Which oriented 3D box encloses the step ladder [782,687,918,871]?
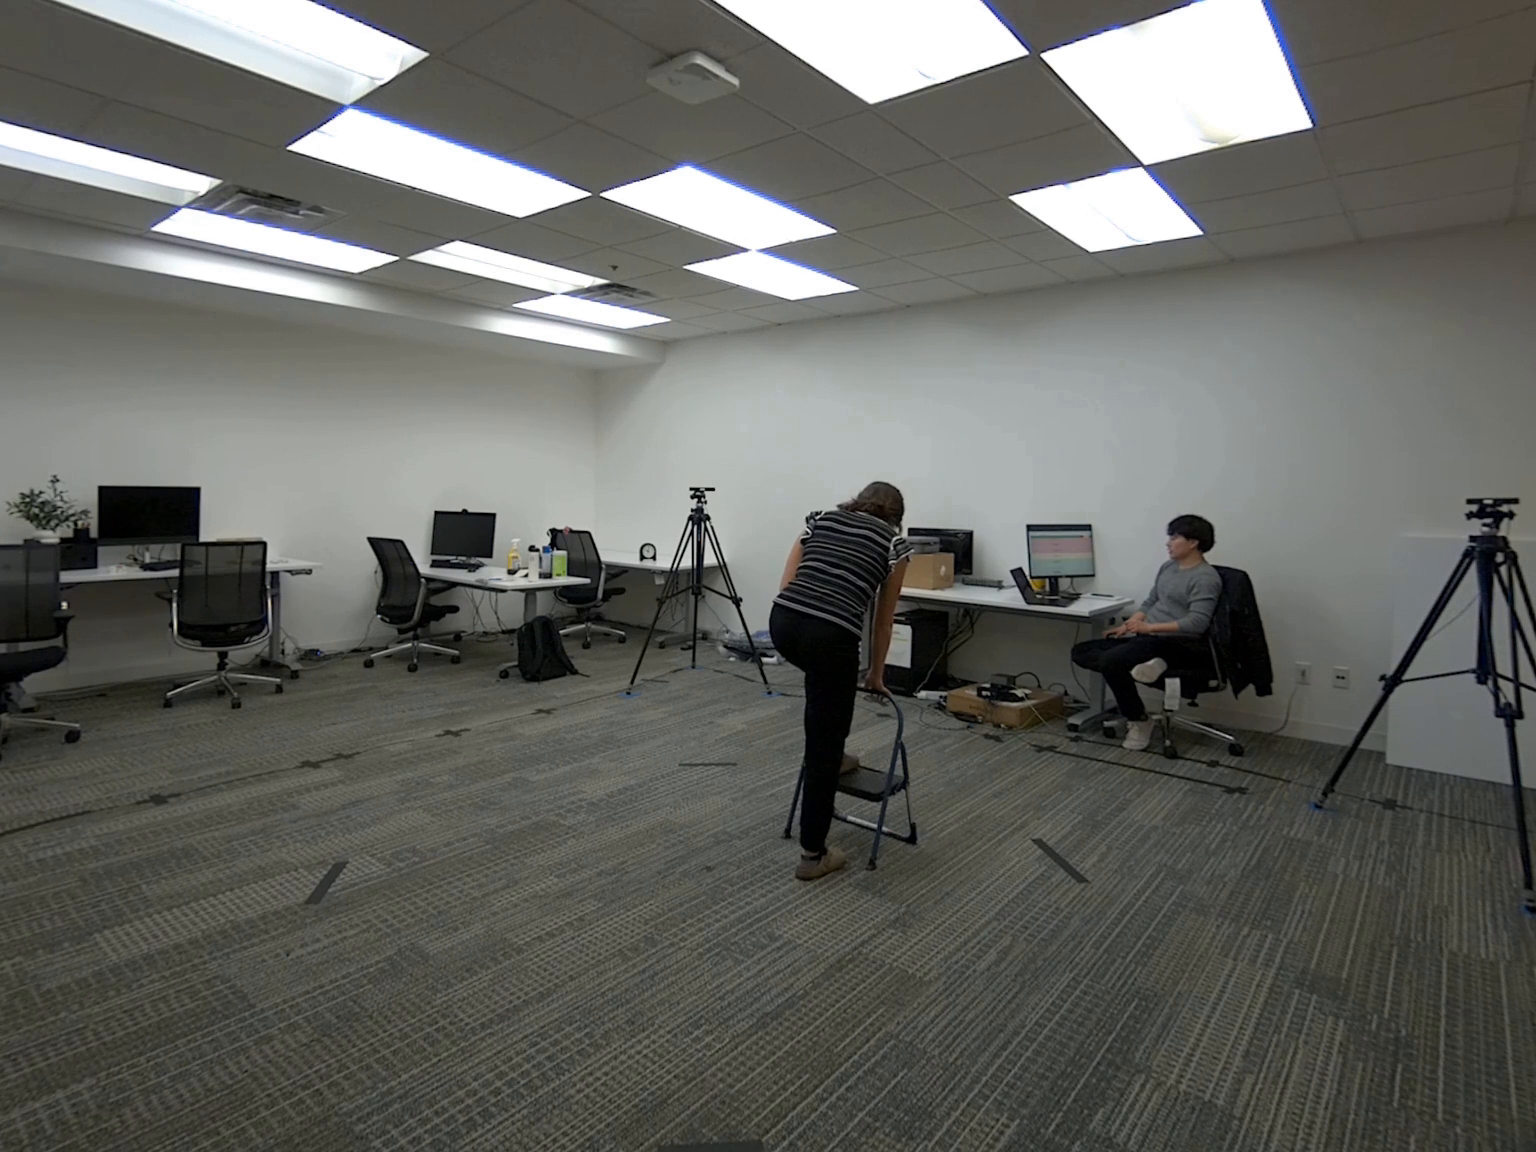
[{"bbox_3d":[0.330,0.750,3.375,0.445,0.604,0.339,5,6,40],"label":"step ladder"}]
